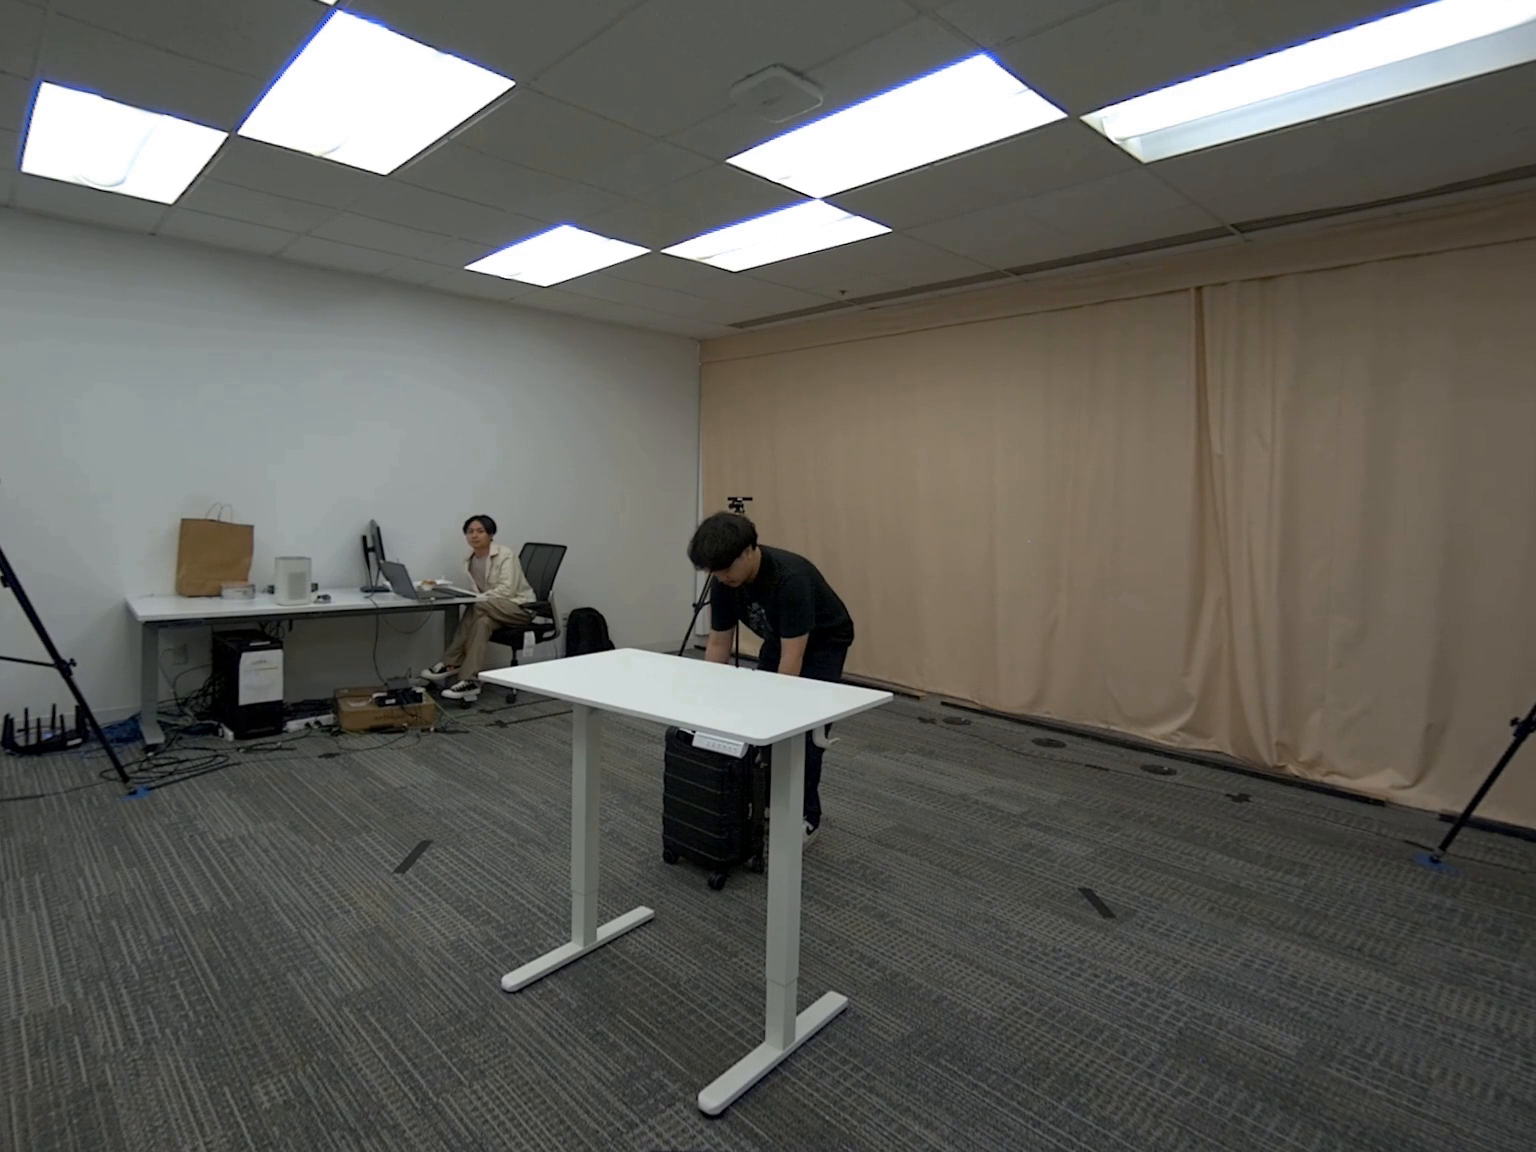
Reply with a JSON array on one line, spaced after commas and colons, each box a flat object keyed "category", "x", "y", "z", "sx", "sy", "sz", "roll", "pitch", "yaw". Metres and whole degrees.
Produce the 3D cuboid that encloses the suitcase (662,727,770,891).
[{"category": "suitcase", "x": -0.213, "y": 0.829, "z": 3.178, "sx": 0.385, "sy": 0.548, "sz": 0.242, "roll": 5, "pitch": 5, "yaw": 44}]
